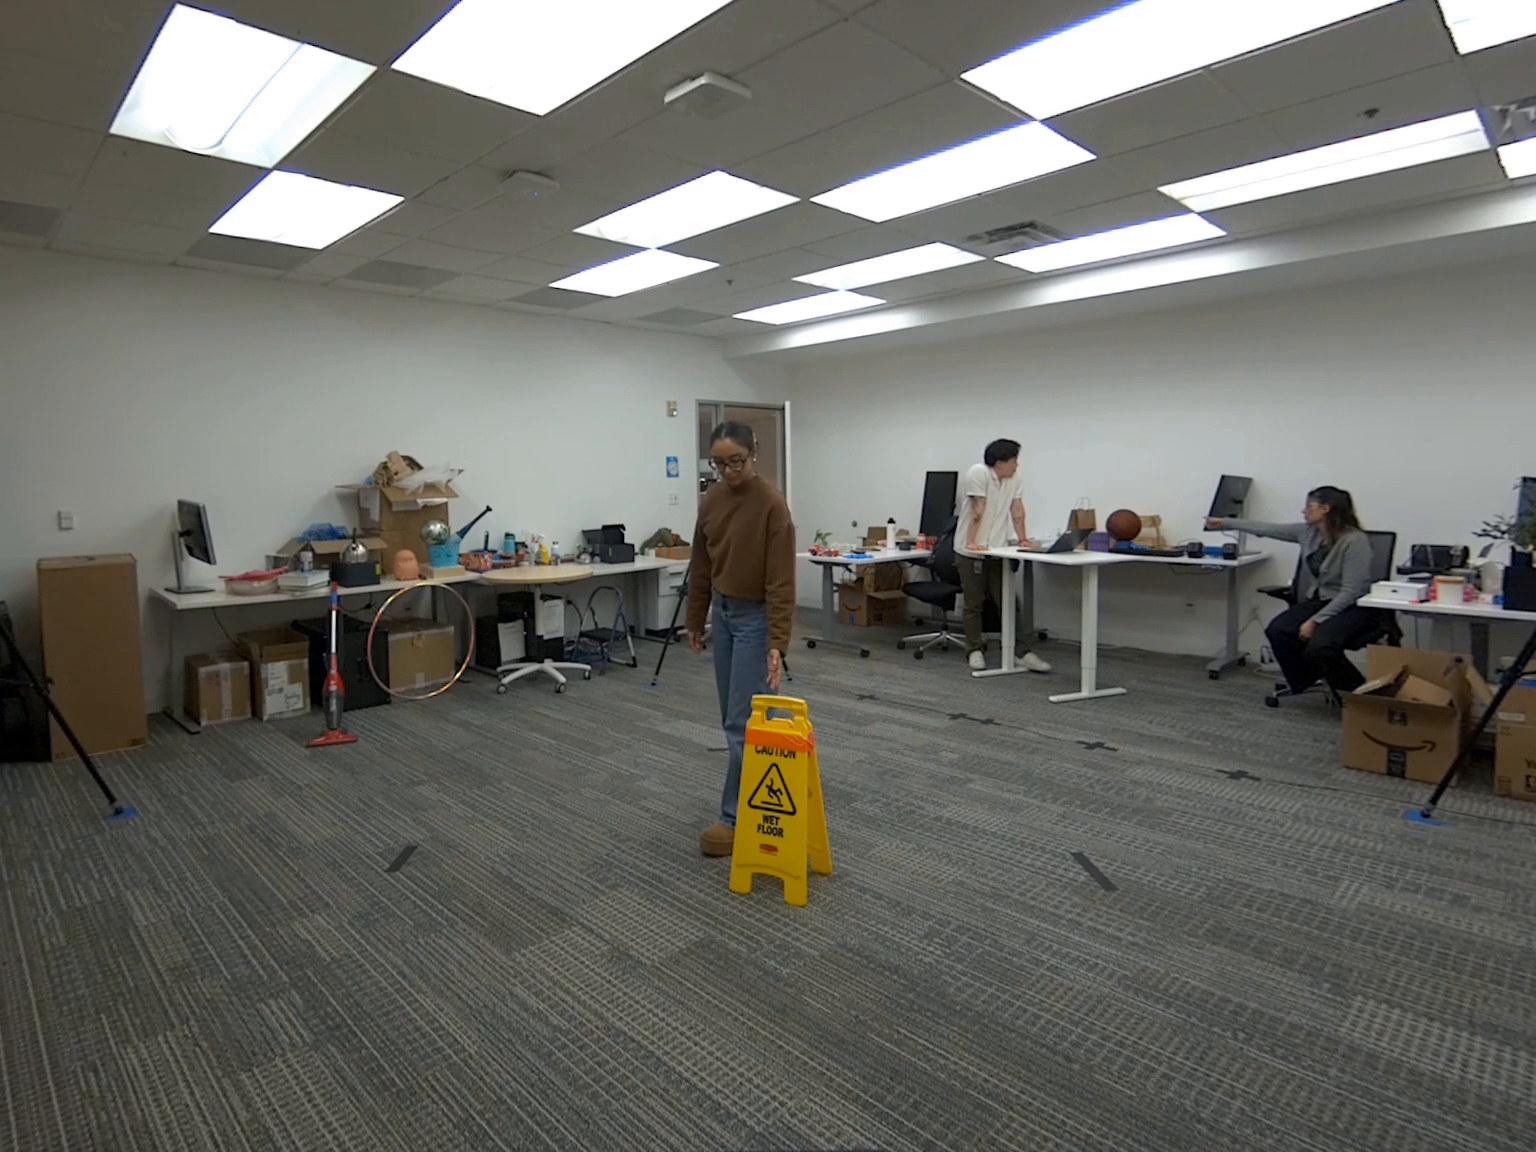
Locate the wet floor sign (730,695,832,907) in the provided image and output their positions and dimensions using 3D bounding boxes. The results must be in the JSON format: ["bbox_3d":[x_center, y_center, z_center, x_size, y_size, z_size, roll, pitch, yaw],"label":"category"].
[{"bbox_3d":[0.049,0.739,2.945,0.289,0.644,0.284,2,4,25],"label":"wet floor sign"}]
